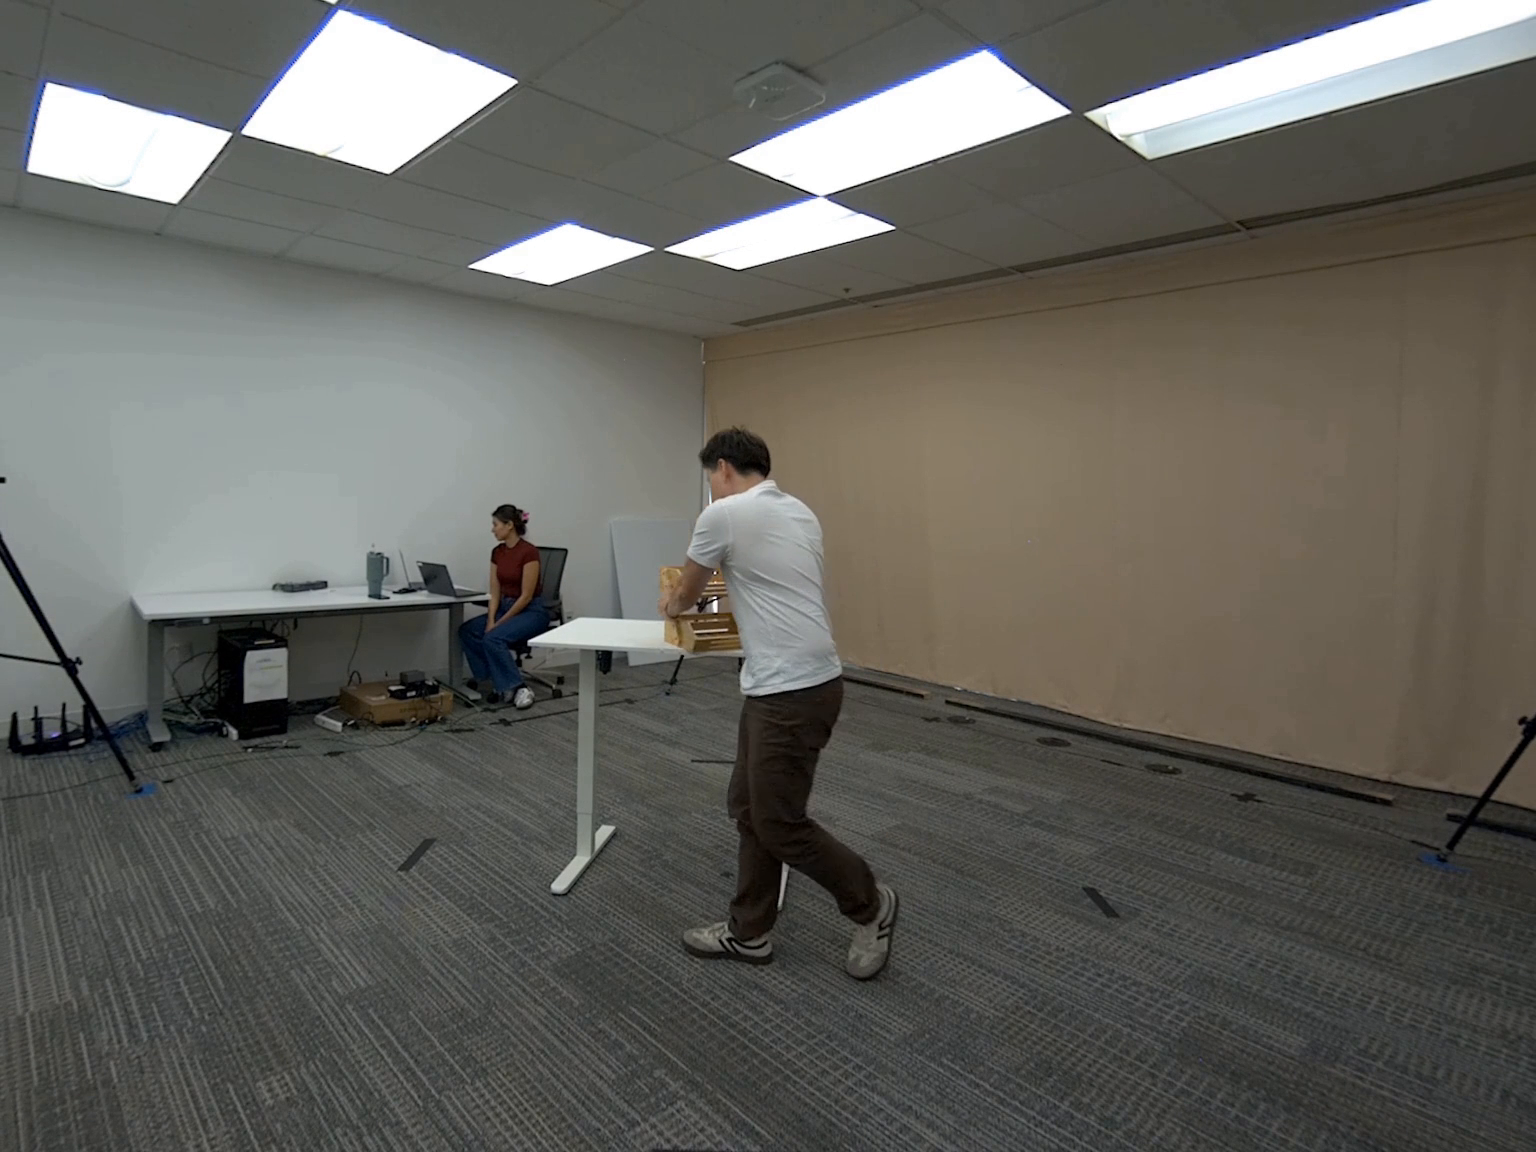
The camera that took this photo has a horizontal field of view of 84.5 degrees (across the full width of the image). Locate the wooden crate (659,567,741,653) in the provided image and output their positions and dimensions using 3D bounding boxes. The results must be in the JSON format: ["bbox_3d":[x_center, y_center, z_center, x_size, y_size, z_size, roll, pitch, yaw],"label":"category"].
[{"bbox_3d":[-0.198,0.103,2.939,0.318,0.273,0.309,-1,4,-29],"label":"wooden crate"}]
